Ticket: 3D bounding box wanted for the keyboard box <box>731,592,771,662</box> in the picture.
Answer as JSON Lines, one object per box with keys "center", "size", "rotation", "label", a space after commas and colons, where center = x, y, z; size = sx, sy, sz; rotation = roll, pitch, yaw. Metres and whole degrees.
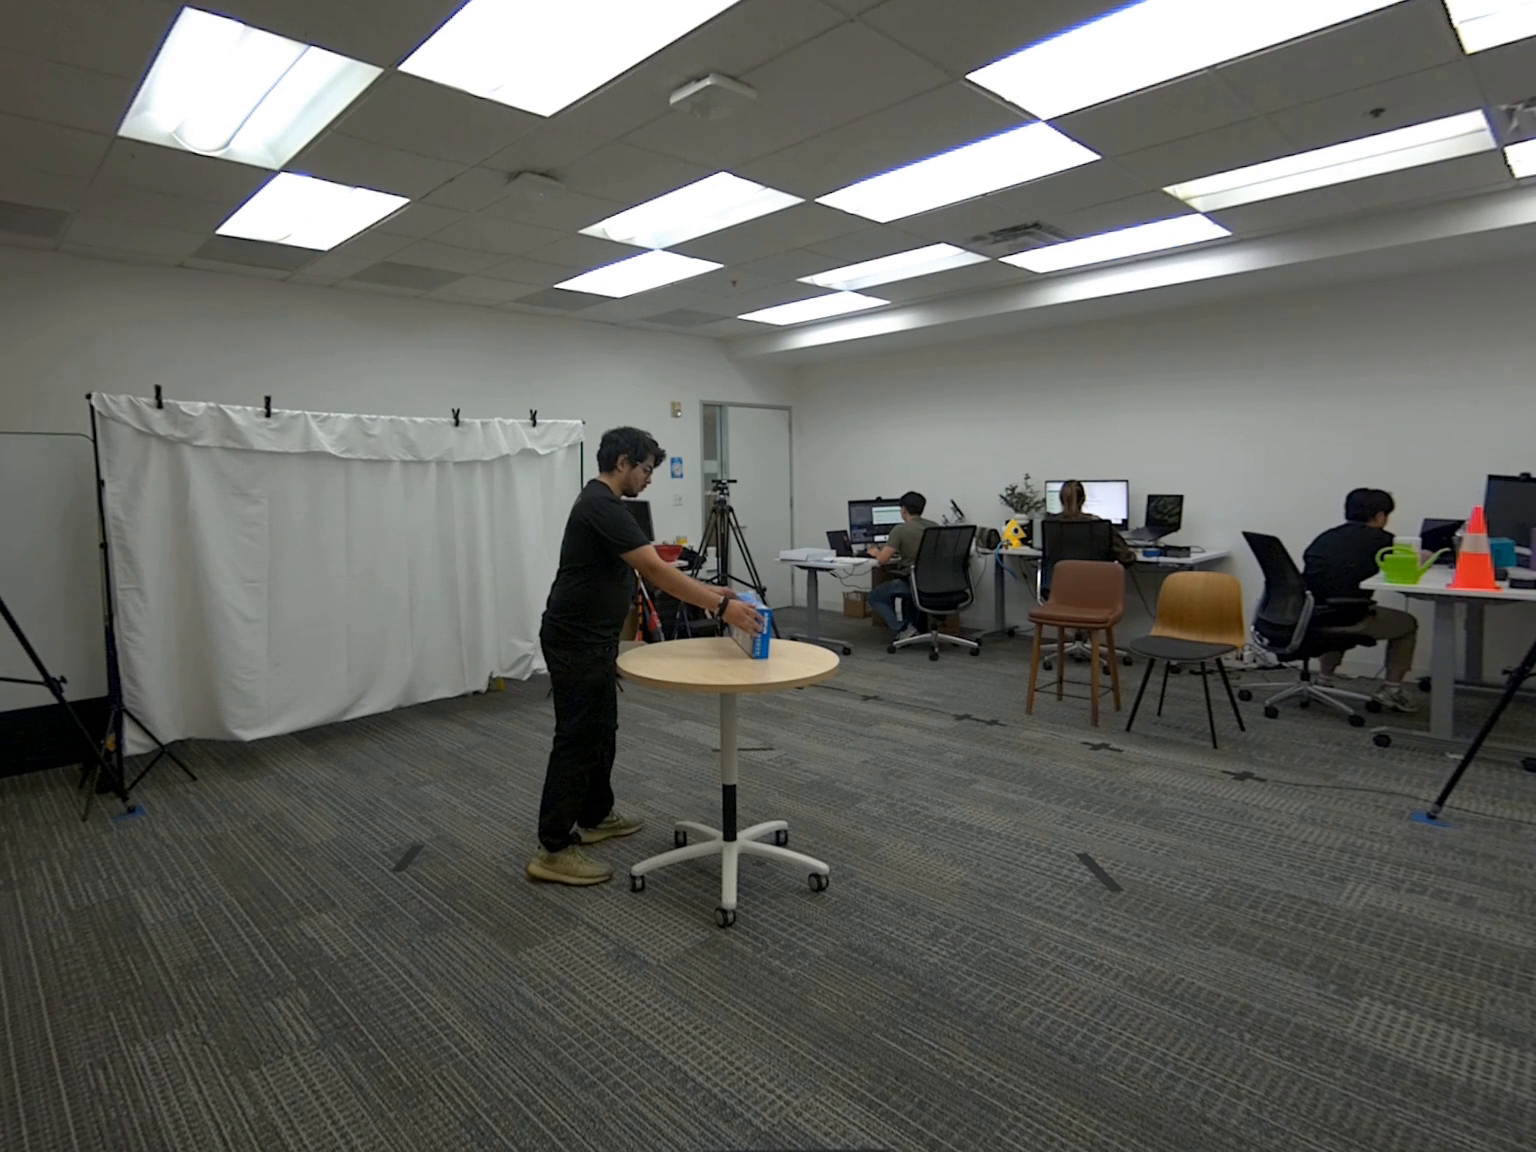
{"center": [-0.070, 0.177, 3.137], "size": [0.058, 0.175, 0.443], "rotation": [0, 6, -12], "label": "keyboard box"}
